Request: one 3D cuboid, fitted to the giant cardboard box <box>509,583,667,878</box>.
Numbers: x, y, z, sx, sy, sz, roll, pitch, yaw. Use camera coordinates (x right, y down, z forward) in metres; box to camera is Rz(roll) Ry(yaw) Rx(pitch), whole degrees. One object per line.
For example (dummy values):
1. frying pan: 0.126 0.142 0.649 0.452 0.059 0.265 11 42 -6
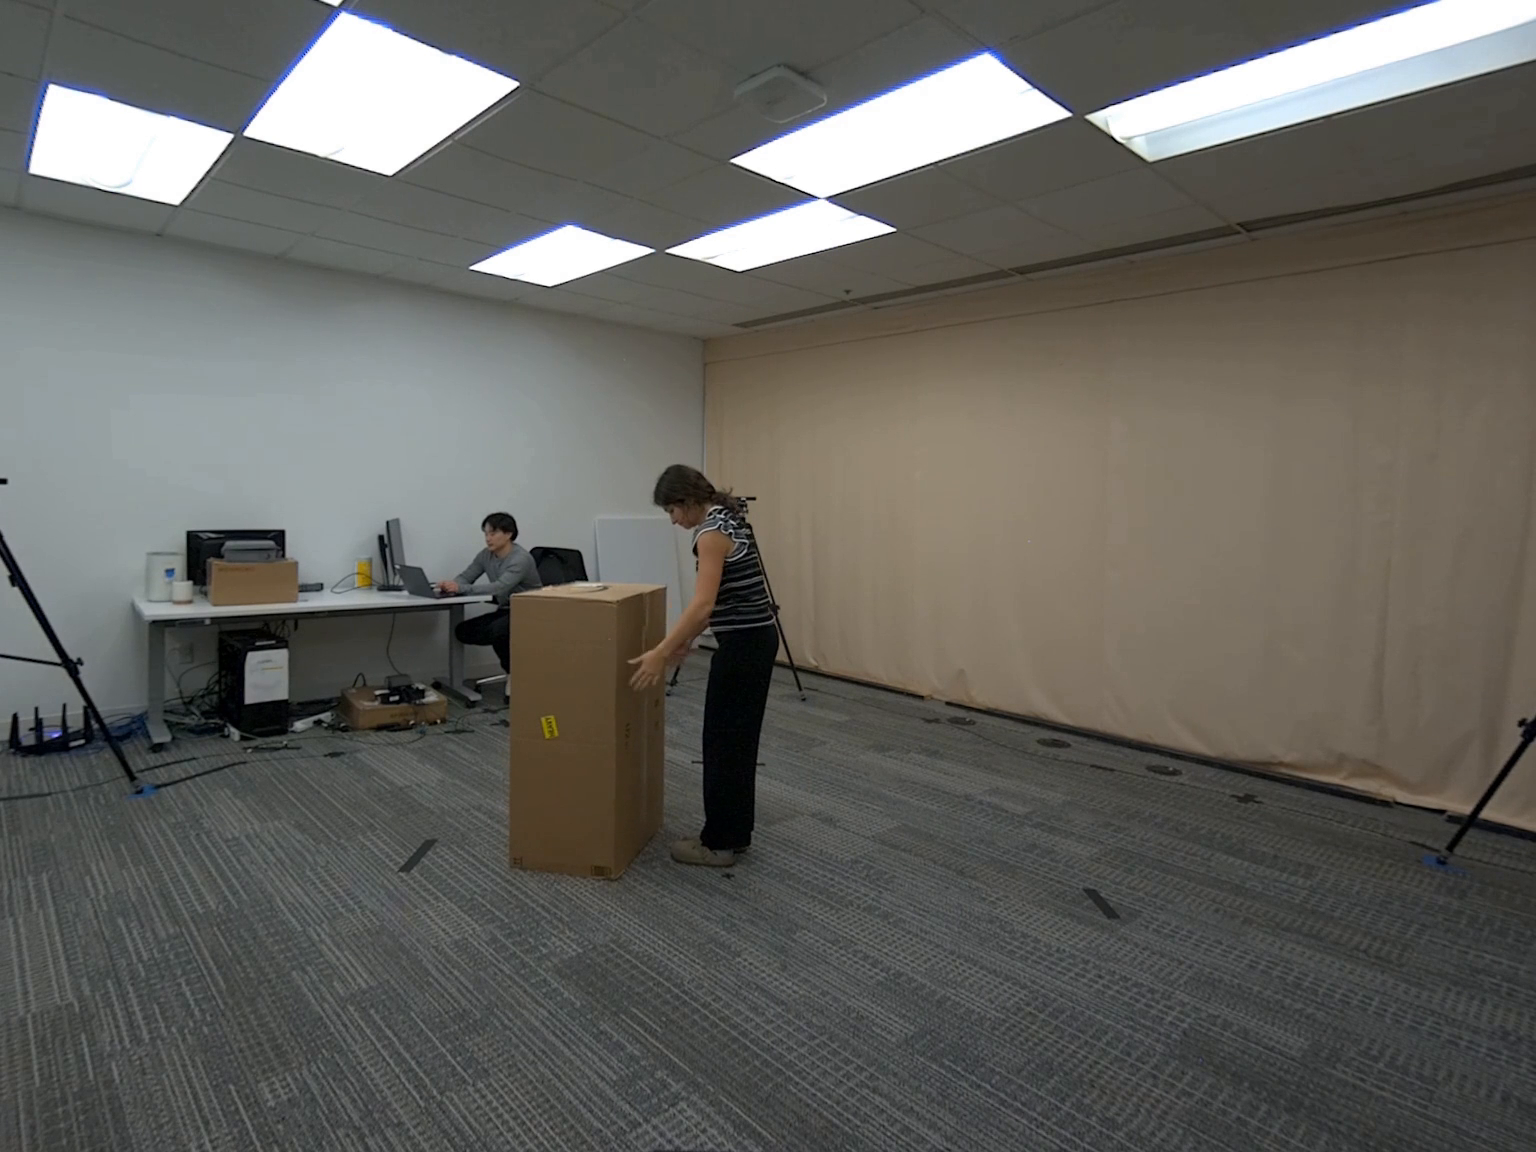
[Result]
1. giant cardboard box: -0.704 0.568 3.333 0.430 1.023 0.573 2 4 12
